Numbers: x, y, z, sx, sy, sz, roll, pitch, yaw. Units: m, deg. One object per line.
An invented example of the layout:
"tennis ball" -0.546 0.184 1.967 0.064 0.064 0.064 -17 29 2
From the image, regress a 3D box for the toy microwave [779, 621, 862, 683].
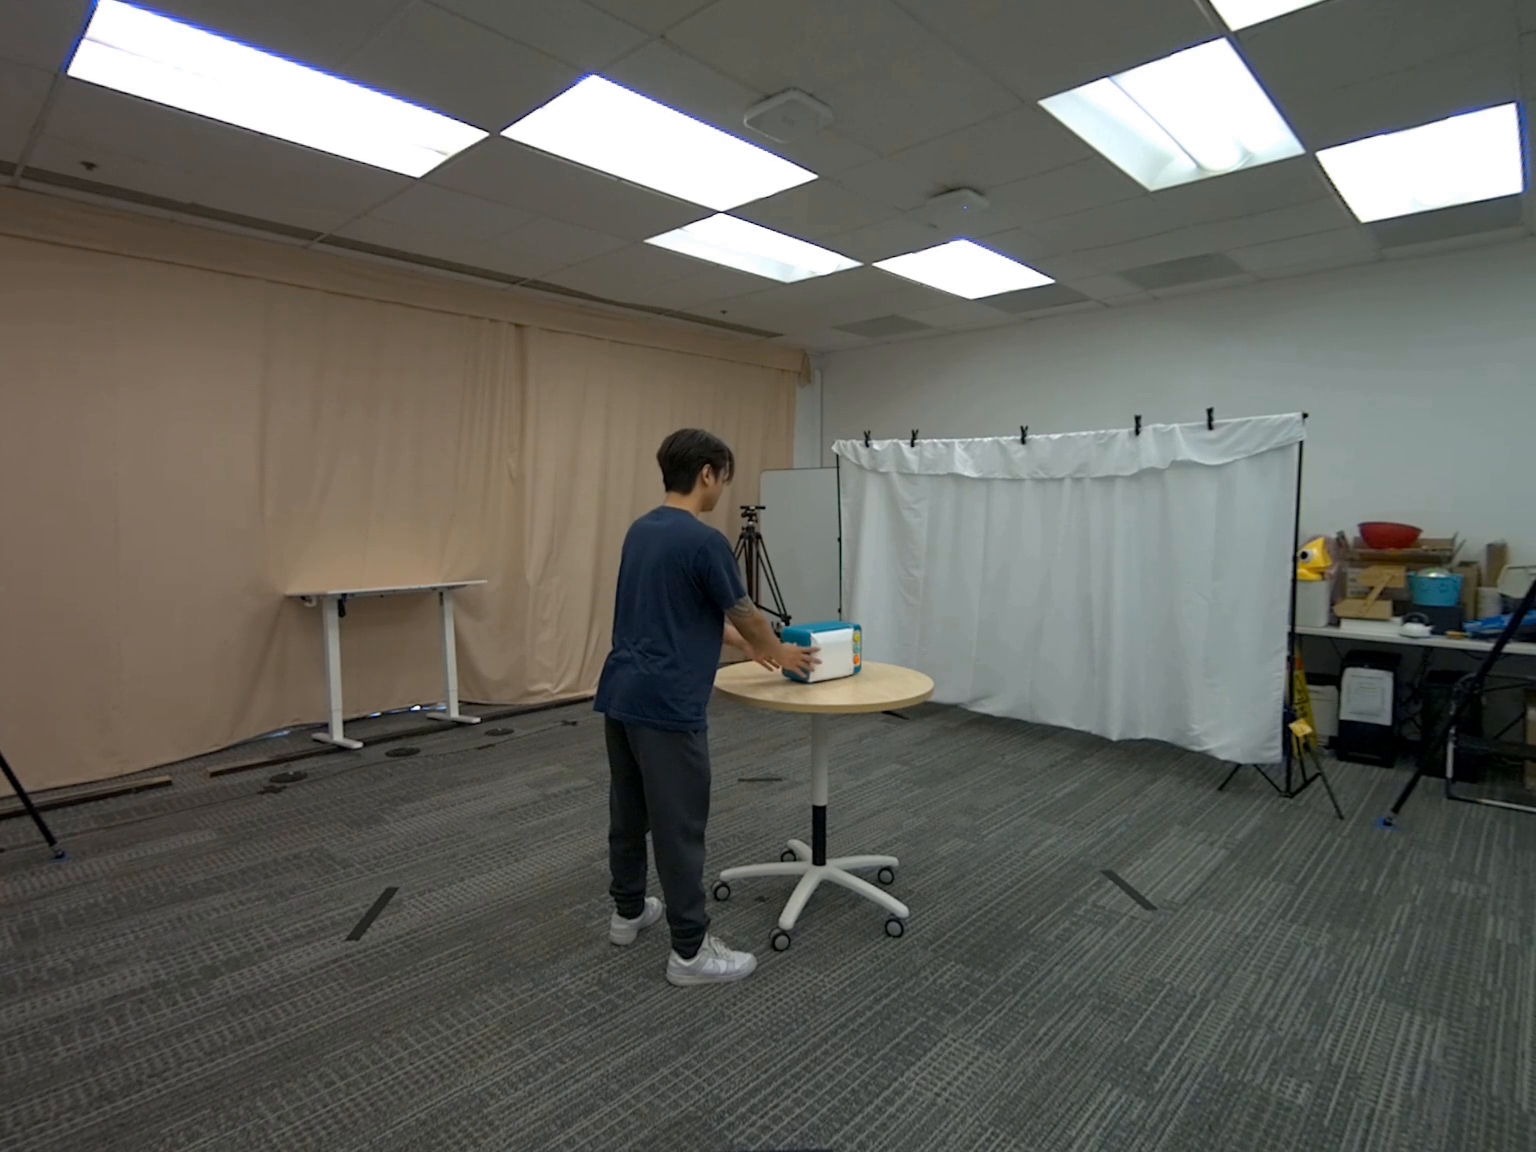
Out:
"toy microwave" 0.203 0.263 2.923 0.278 0.184 0.157 -4 5 -39
